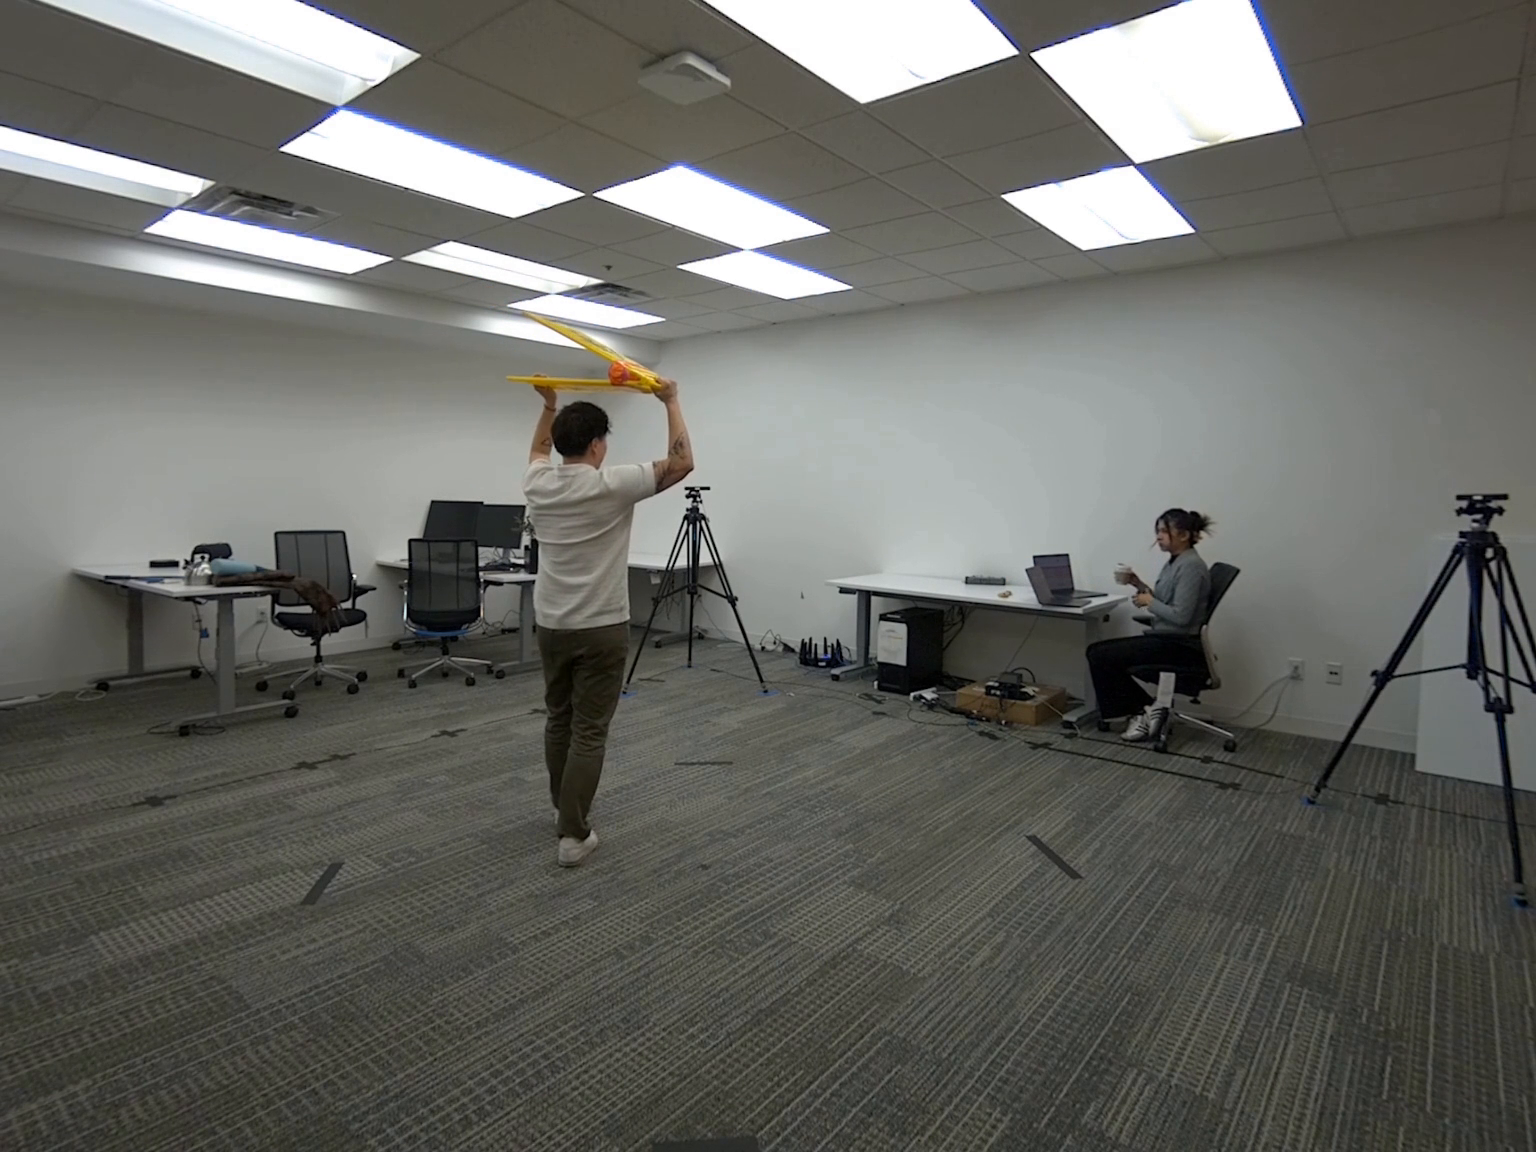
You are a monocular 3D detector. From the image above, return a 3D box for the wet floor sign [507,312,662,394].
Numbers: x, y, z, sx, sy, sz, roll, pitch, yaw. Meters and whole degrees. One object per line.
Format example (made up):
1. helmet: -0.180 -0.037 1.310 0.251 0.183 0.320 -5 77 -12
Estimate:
1. wet floor sign: -0.670 -0.803 3.275 0.667 0.288 0.275 21 11 26
